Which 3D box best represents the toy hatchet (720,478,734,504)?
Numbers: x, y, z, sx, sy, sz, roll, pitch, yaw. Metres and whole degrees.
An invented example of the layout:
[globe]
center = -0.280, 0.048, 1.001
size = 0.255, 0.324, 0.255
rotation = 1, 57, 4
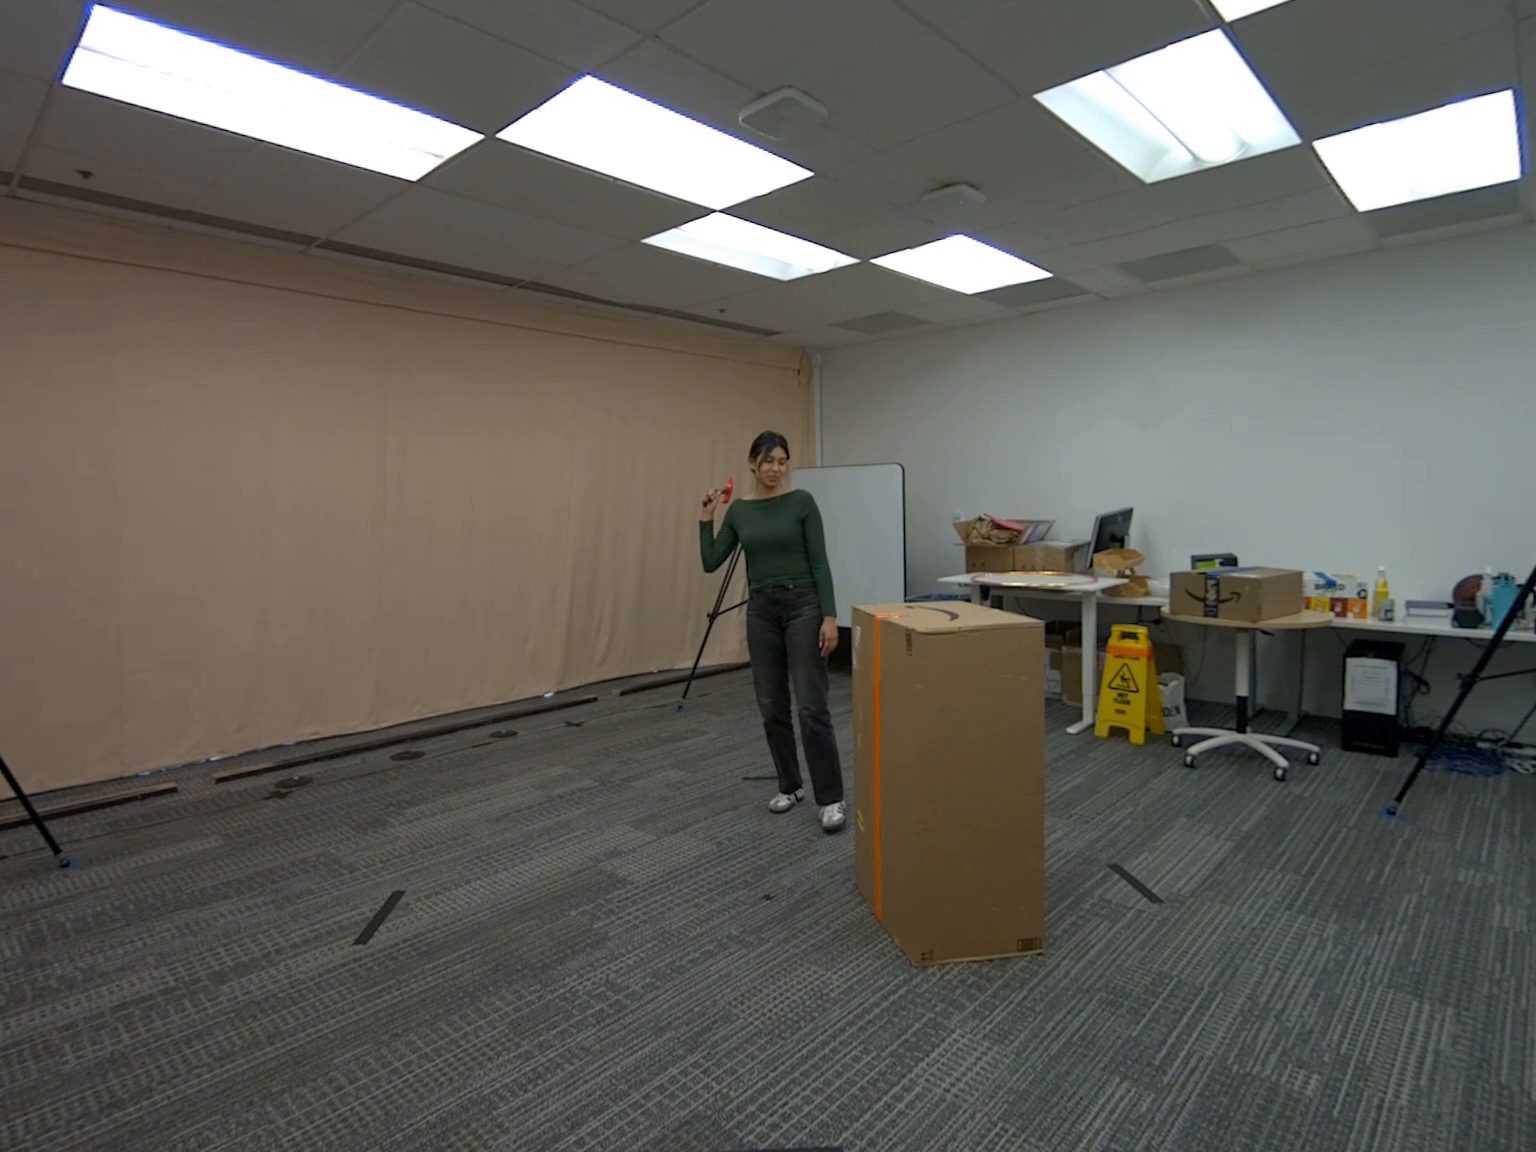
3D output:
[toy hatchet]
center = -0.226, -0.365, 3.984
size = 0.030, 0.129, 0.268
rotation = 15, 36, 16
